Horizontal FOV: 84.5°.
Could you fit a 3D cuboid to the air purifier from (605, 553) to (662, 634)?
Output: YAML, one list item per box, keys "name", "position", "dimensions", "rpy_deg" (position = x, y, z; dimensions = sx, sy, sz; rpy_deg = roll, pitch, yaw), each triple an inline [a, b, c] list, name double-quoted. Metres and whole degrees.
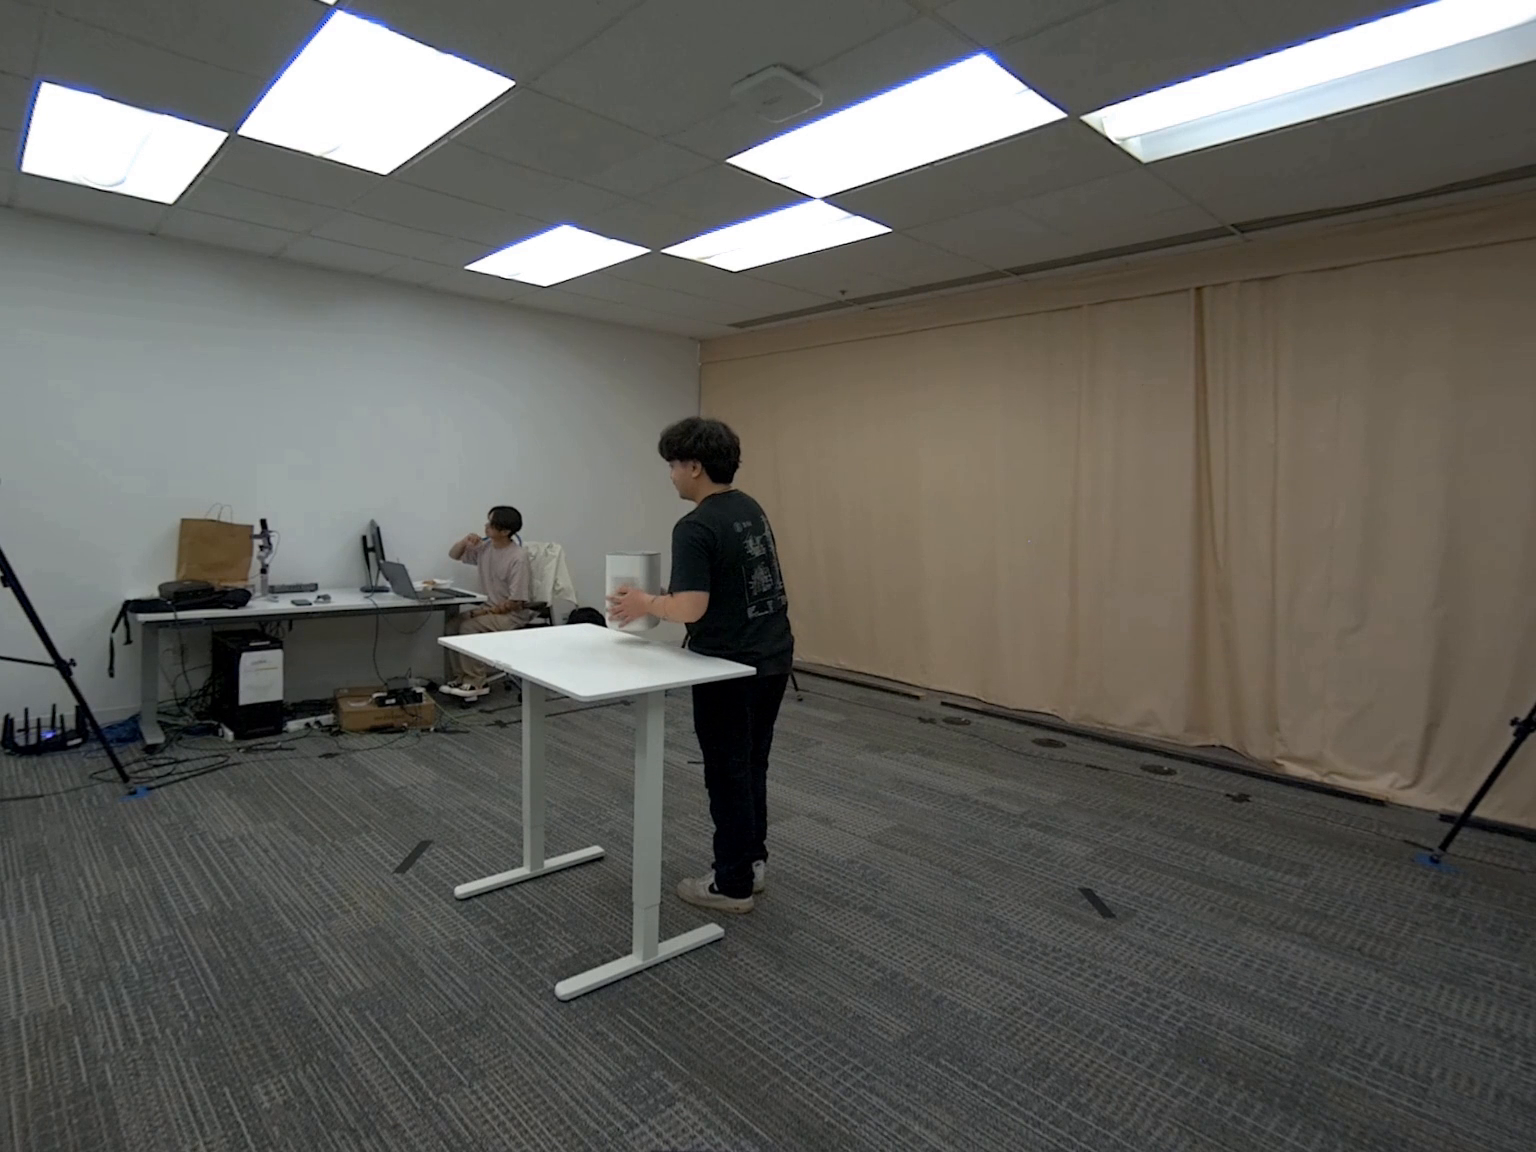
- name: "air purifier"
  position: [-0.470, 0.049, 2.937]
  dimensions: [0.173, 0.265, 0.170]
  rpy_deg: [2, 3, 11]
